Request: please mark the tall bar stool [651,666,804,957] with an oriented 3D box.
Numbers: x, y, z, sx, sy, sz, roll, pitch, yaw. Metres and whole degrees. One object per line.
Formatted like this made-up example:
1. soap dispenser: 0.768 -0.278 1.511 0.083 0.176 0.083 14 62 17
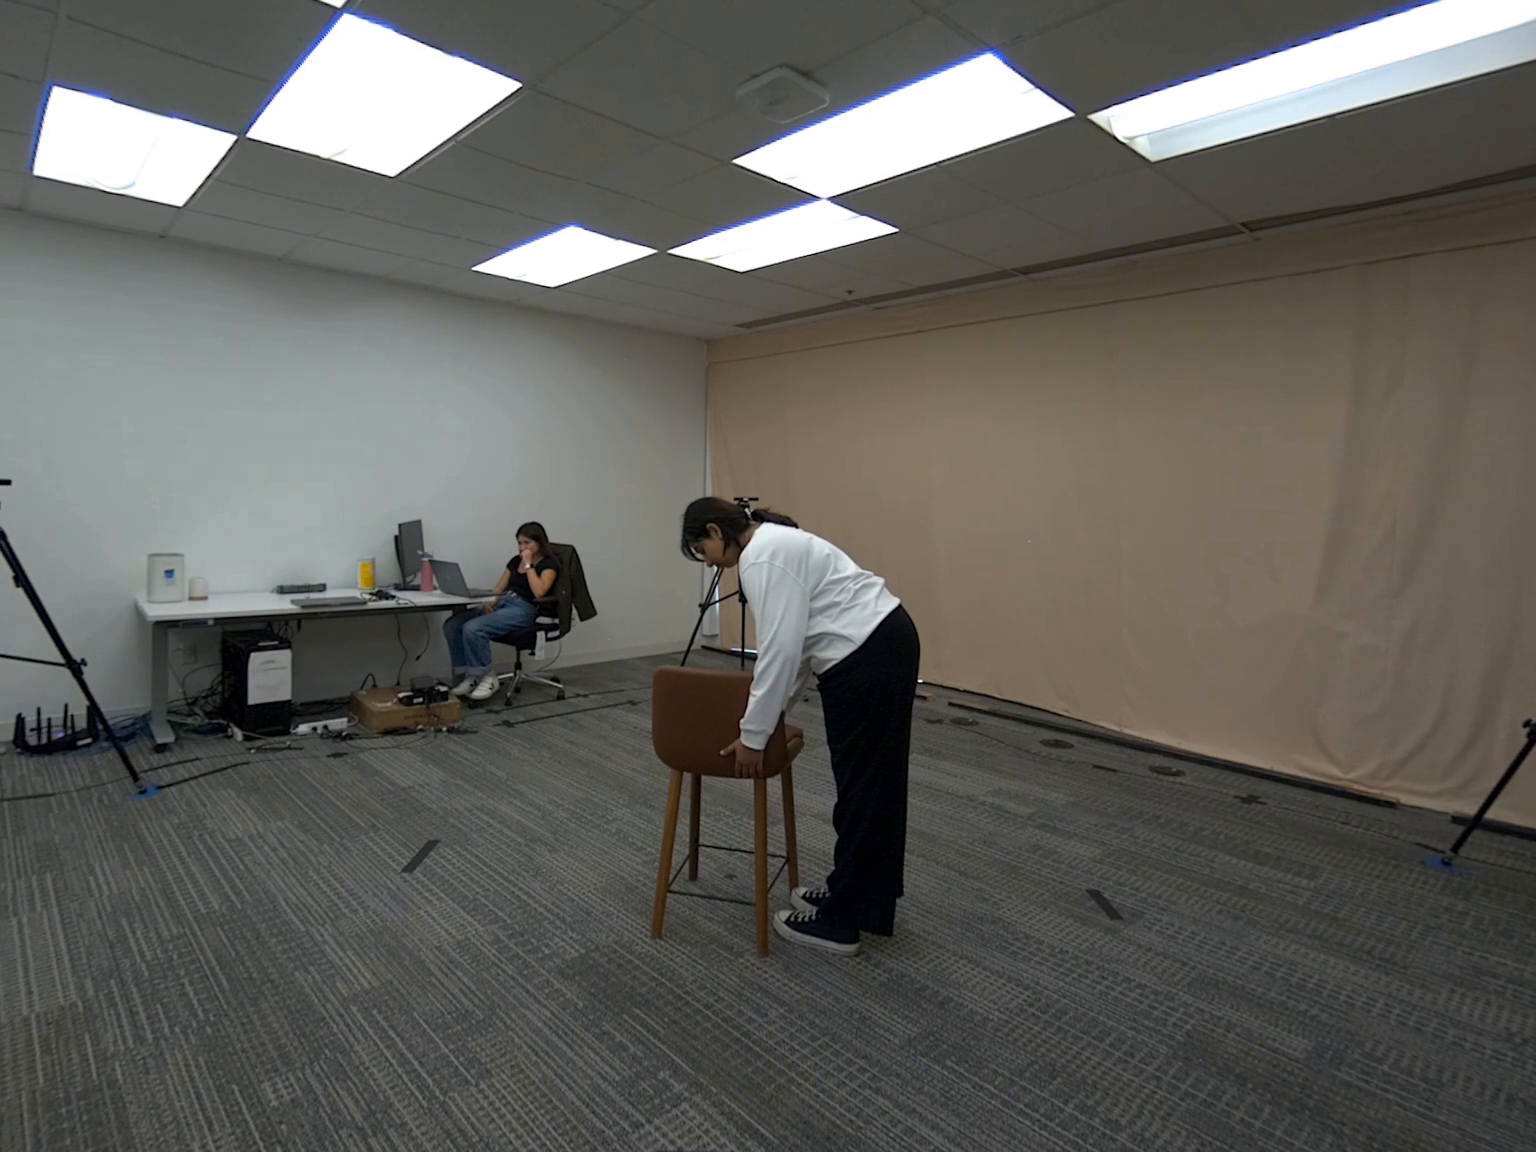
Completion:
1. tall bar stool: -0.132 0.700 2.793 0.463 0.886 0.463 3 5 16
